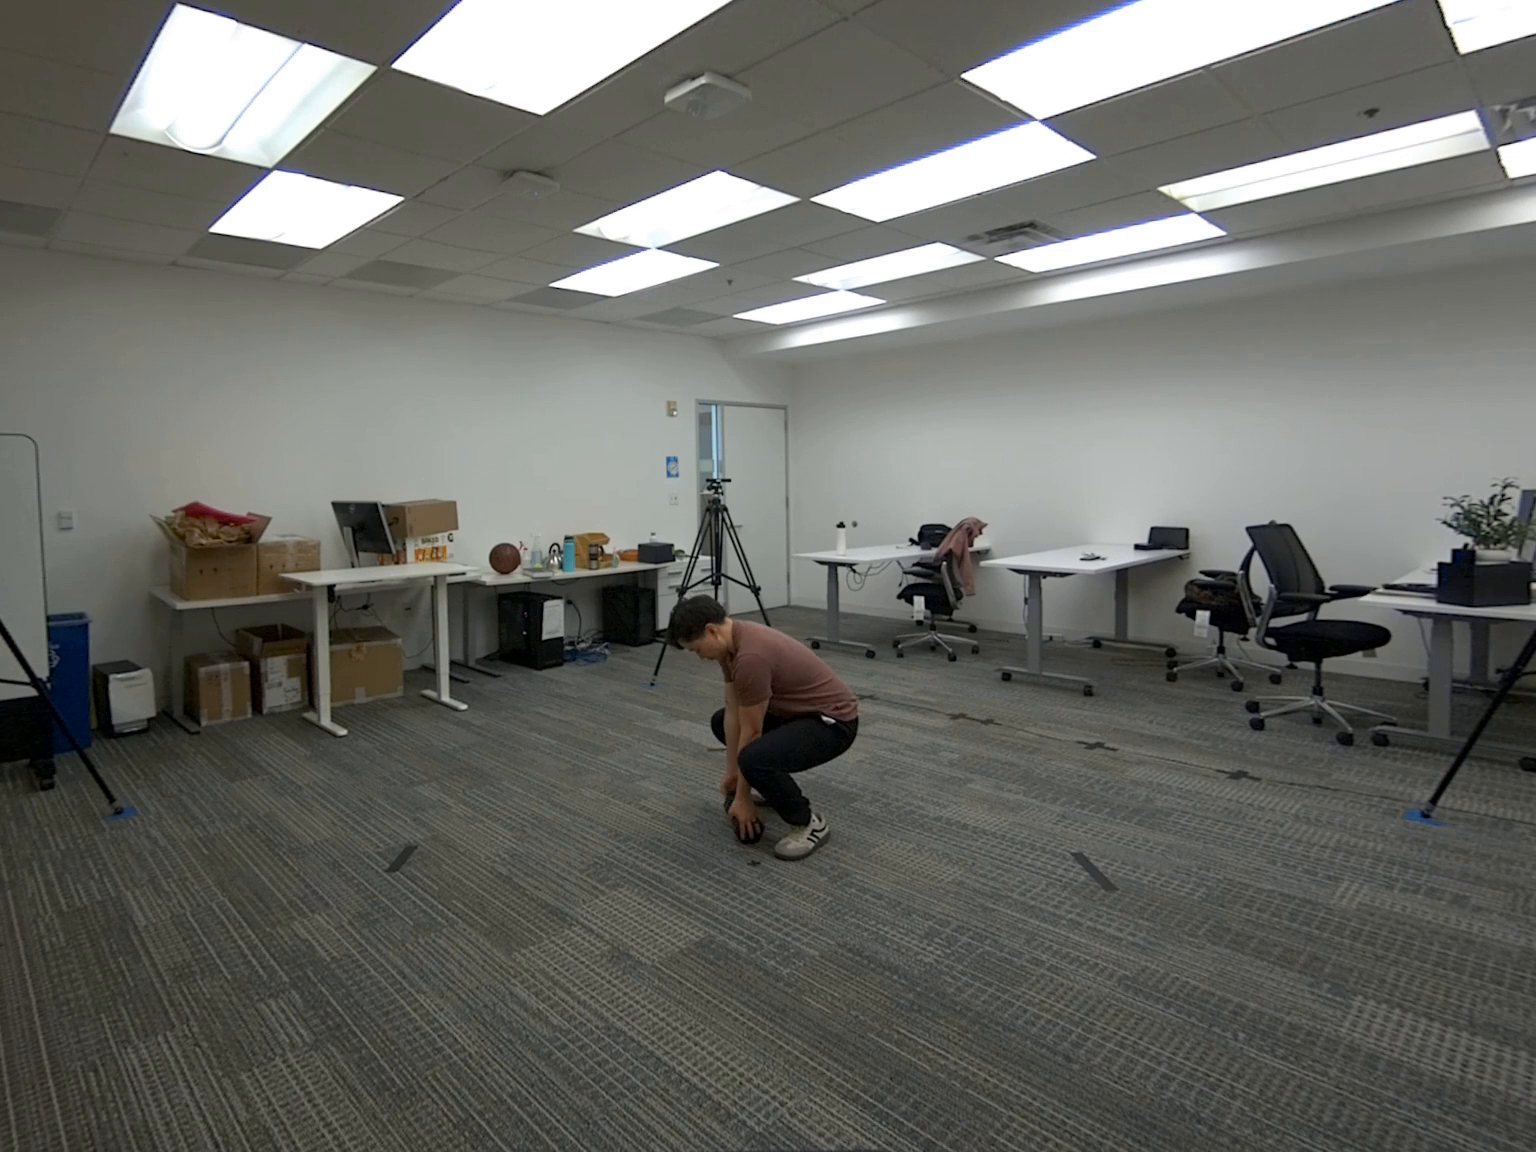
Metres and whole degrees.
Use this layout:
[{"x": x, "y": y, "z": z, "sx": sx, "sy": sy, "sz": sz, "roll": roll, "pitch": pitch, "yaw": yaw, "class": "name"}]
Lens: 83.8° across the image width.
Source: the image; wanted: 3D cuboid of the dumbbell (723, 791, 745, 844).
[{"x": -0.101, "y": 0.968, "z": 3.408, "sx": 0.109, "sy": 0.122, "sz": 0.296, "roll": -37, "pitch": 8, "yaw": 0, "class": "dumbbell"}]
